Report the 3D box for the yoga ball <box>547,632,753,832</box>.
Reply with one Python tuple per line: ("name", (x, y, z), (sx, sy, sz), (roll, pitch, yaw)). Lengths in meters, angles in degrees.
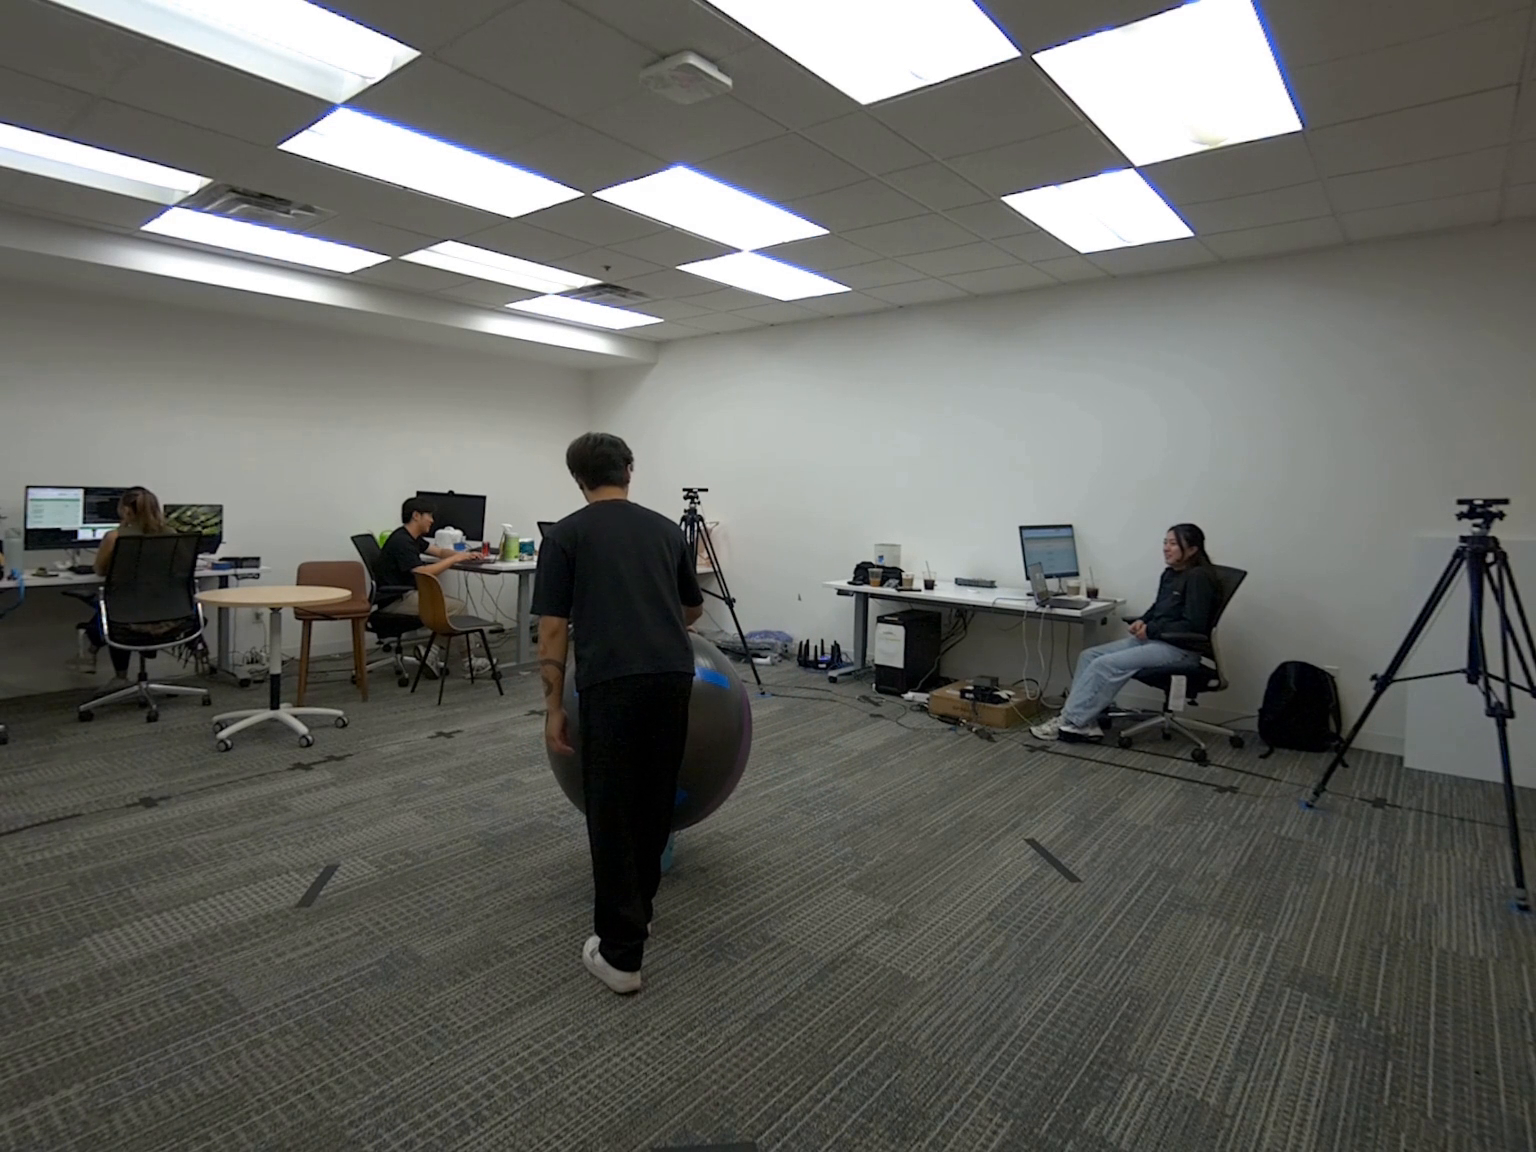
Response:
("yoga ball", (-0.444, 0.553, 3.135), (0.757, 0.756, 0.762), (1, 4, -2))
